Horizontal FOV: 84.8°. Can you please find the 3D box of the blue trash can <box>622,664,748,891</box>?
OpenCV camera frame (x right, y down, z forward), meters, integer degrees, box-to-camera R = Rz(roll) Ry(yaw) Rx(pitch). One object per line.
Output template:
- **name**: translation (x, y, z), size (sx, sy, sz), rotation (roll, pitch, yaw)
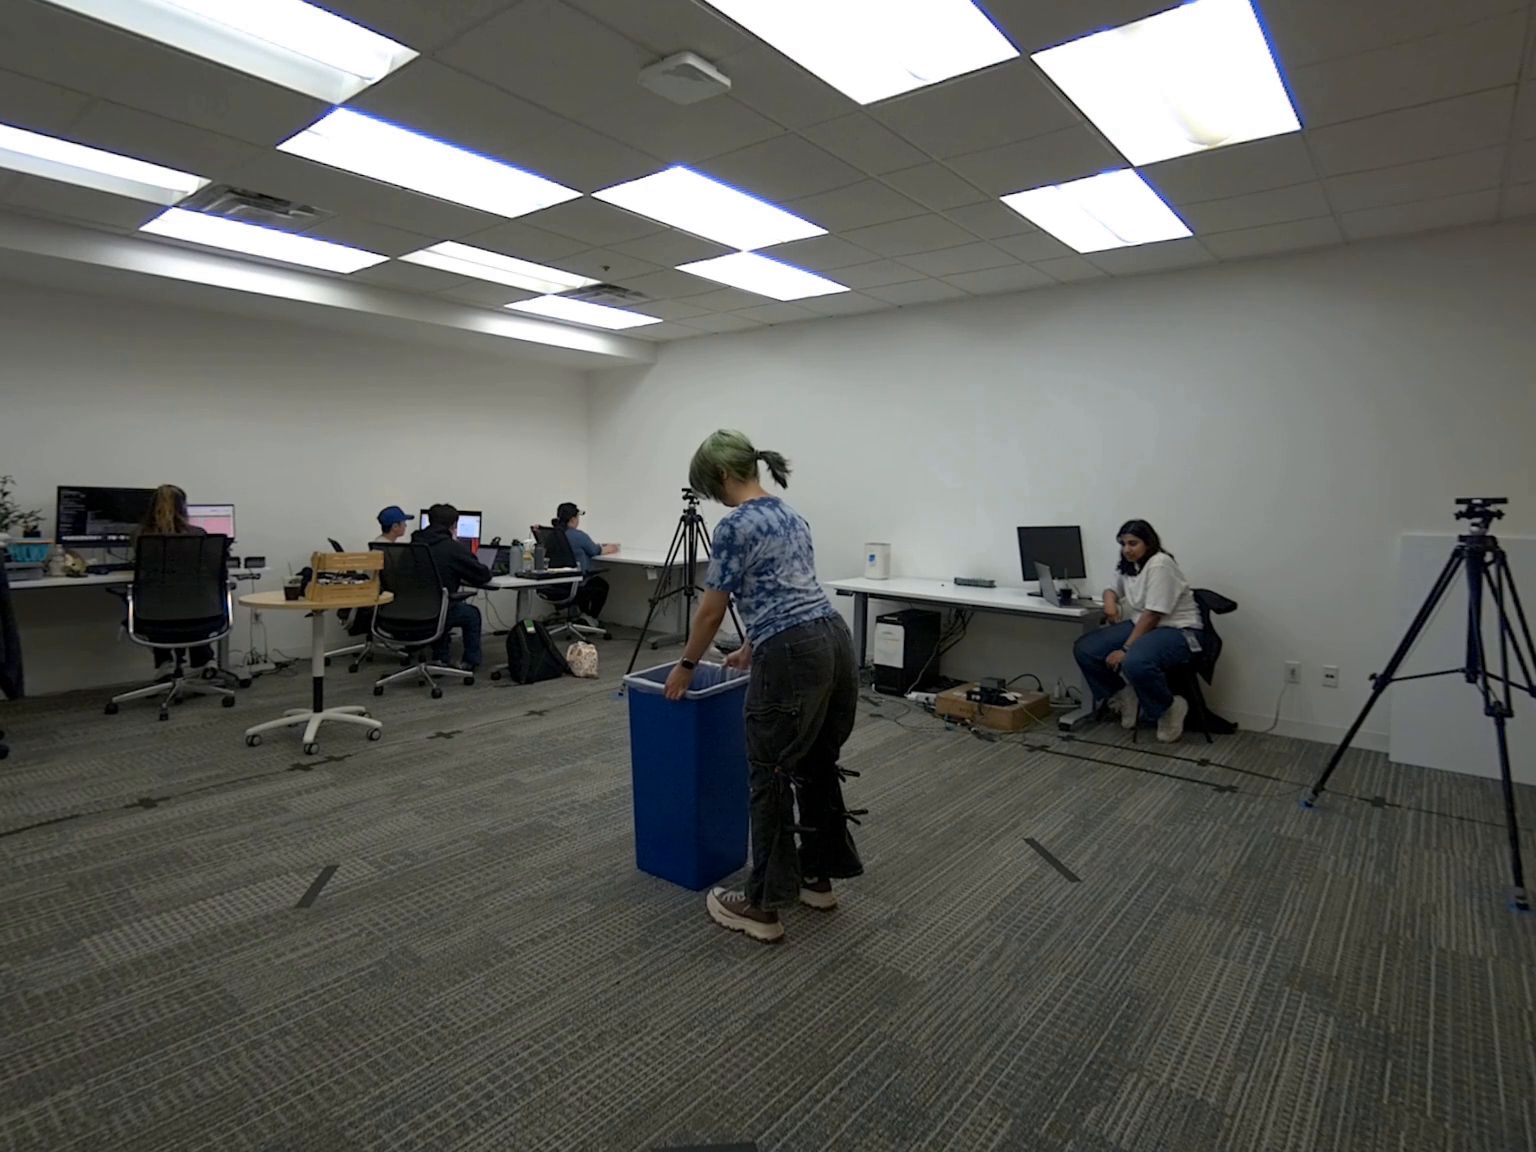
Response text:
- **blue trash can**: translation (-0.299, 0.709, 3.090), size (0.390, 0.711, 0.363), rotation (3, 5, 37)
